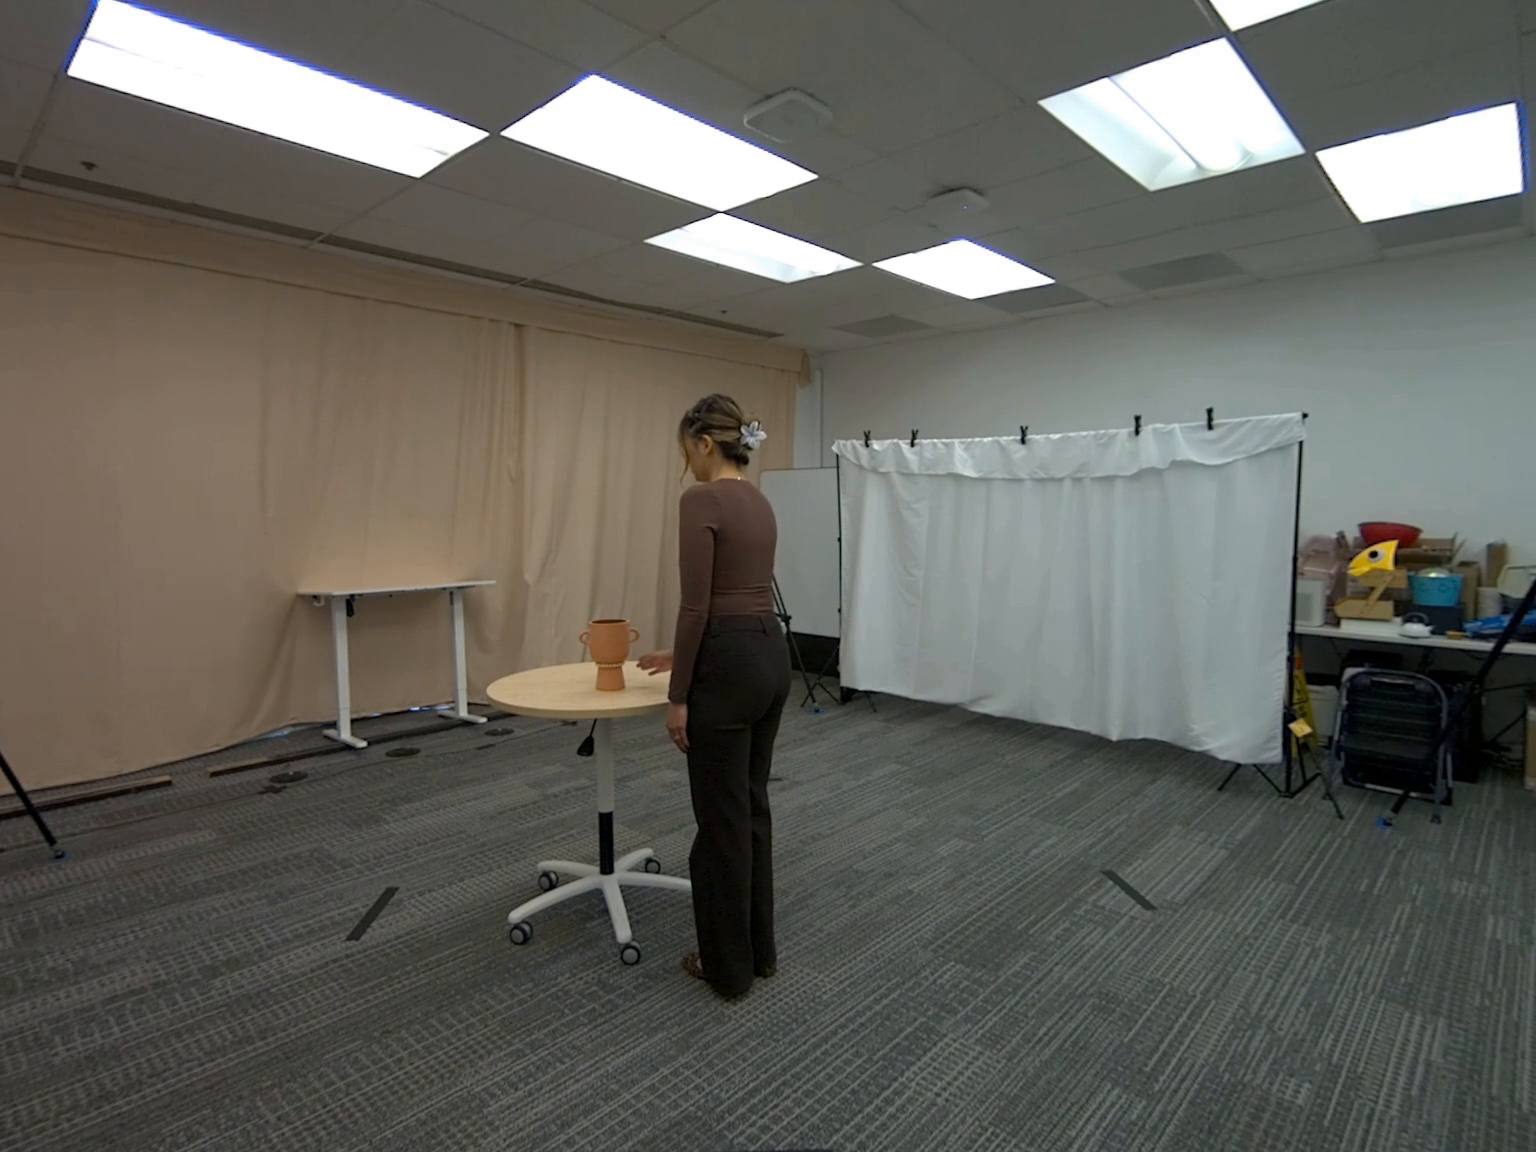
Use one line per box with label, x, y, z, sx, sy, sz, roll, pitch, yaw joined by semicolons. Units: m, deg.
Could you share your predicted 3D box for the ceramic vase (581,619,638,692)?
ceramic vase;-0.515;0.260;2.759;0.162;0.219;0.132;-1;4;21
